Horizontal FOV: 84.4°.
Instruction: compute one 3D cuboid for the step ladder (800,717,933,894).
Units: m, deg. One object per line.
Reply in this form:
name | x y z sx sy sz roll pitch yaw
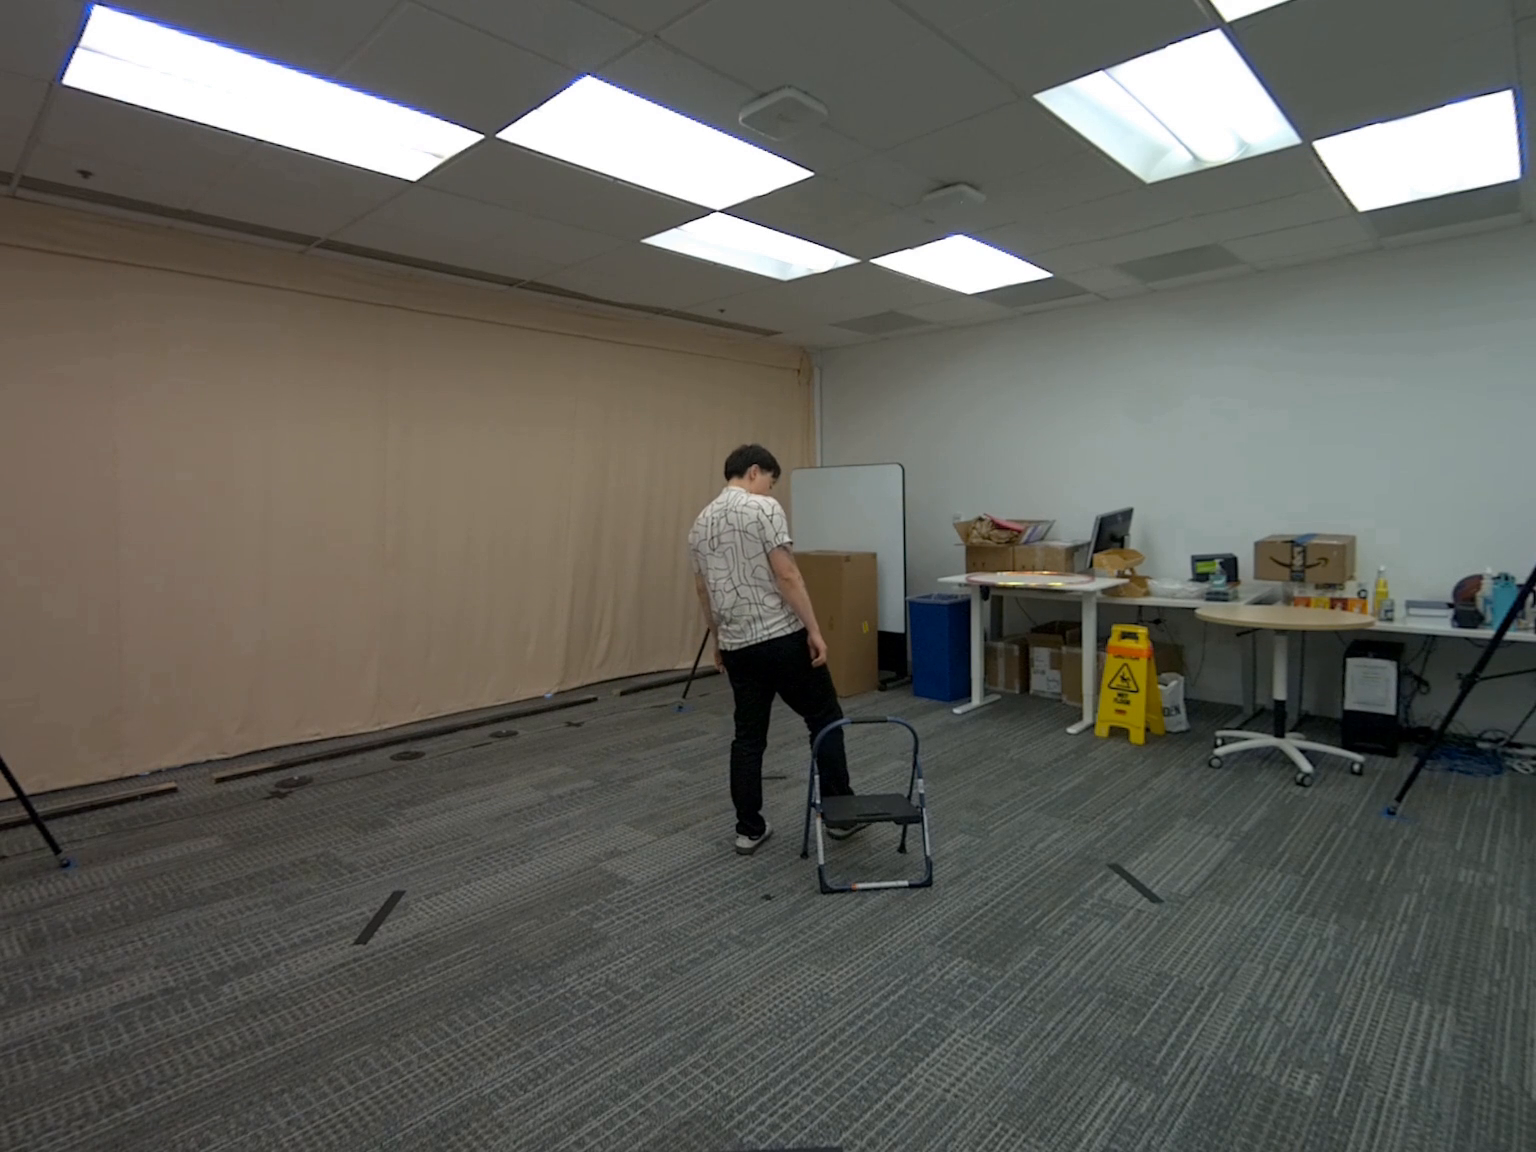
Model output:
step ladder | 0.365 0.816 3.166 0.427 0.605 0.353 -1 3 -8
